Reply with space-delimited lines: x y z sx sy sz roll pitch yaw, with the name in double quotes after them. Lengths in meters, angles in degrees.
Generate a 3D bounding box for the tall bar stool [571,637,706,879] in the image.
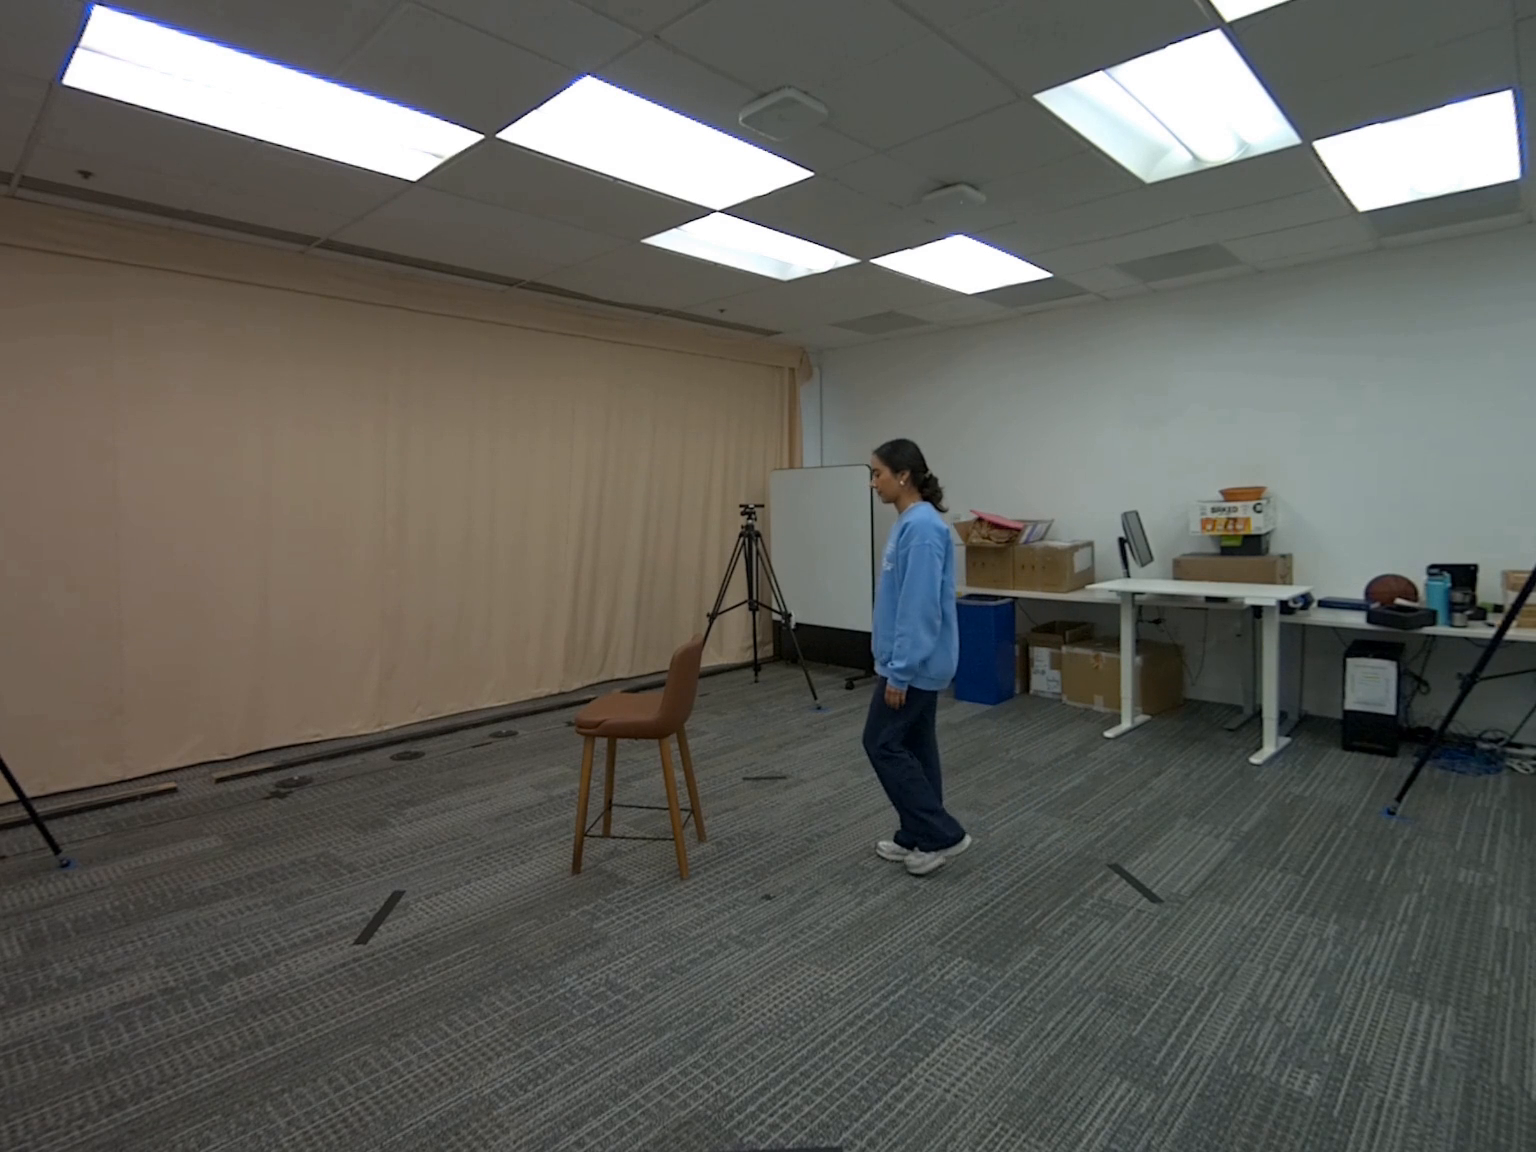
-0.502 0.686 3.347 0.473 0.888 0.452 1 3 9 "tall bar stool"
